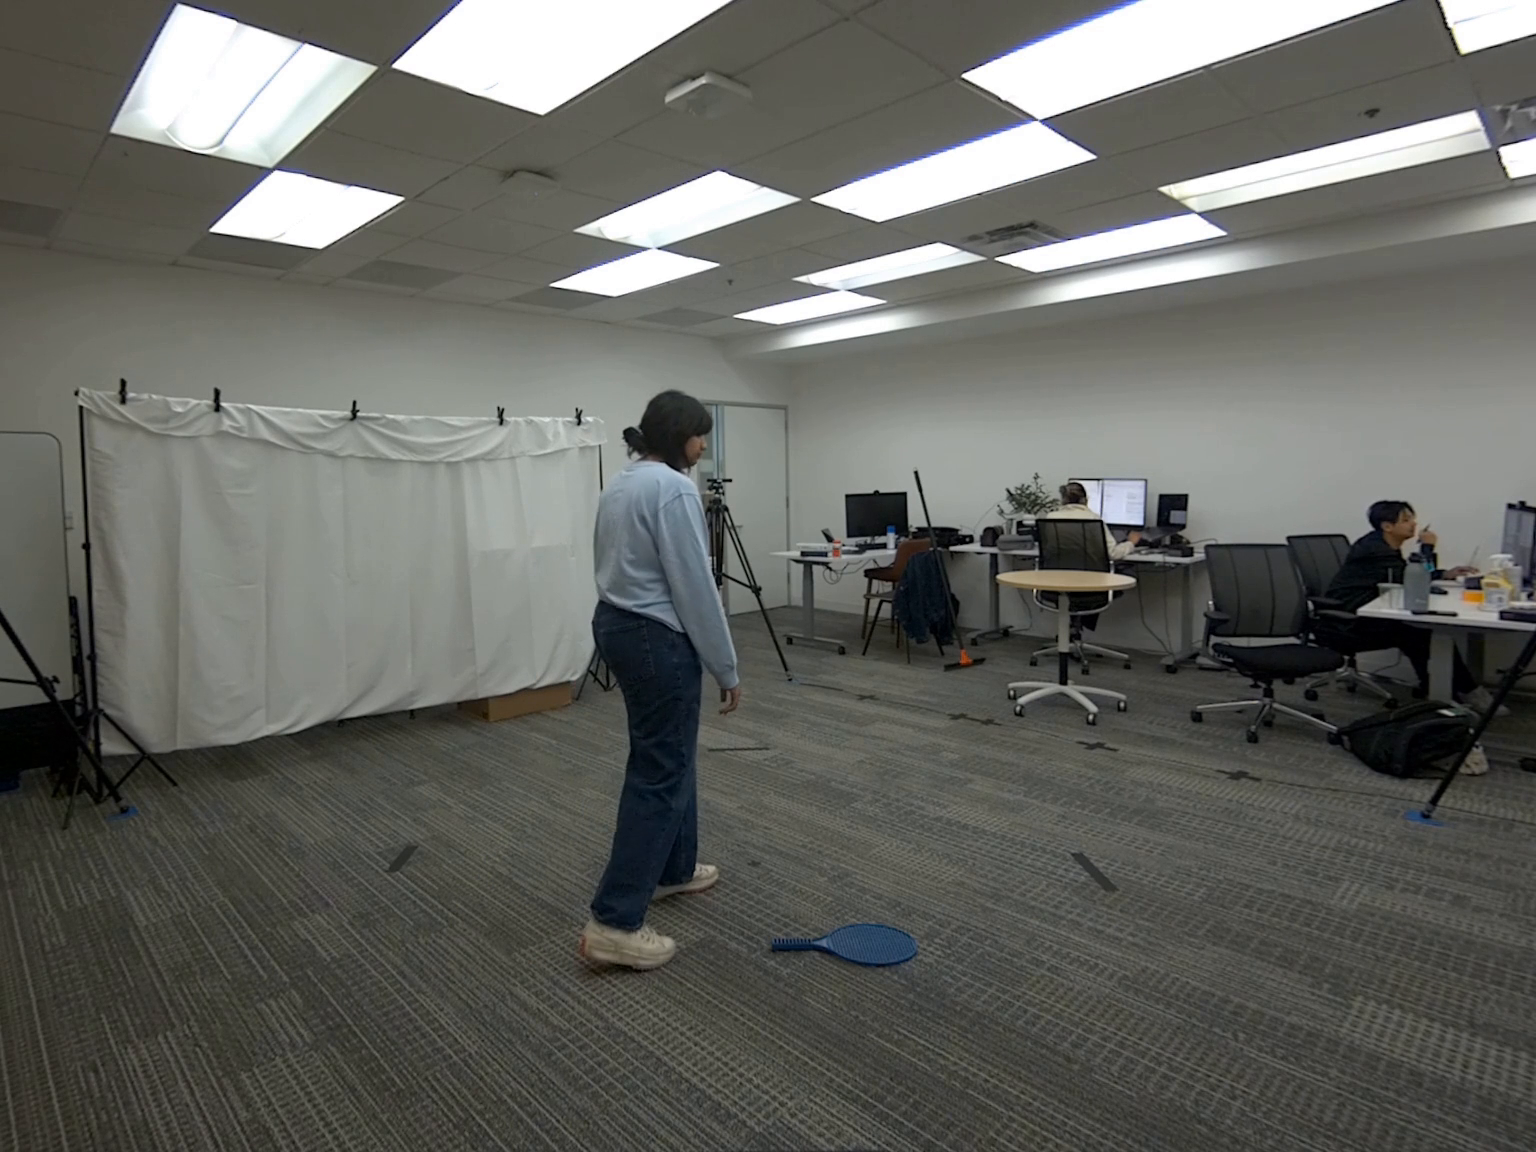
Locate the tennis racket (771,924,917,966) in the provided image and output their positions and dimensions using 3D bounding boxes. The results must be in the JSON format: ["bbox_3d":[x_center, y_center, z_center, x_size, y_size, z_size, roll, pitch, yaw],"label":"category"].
[{"bbox_3d":[0.233,1.095,2.541,0.431,0.031,0.216,0,7,-4],"label":"tennis racket"}]
